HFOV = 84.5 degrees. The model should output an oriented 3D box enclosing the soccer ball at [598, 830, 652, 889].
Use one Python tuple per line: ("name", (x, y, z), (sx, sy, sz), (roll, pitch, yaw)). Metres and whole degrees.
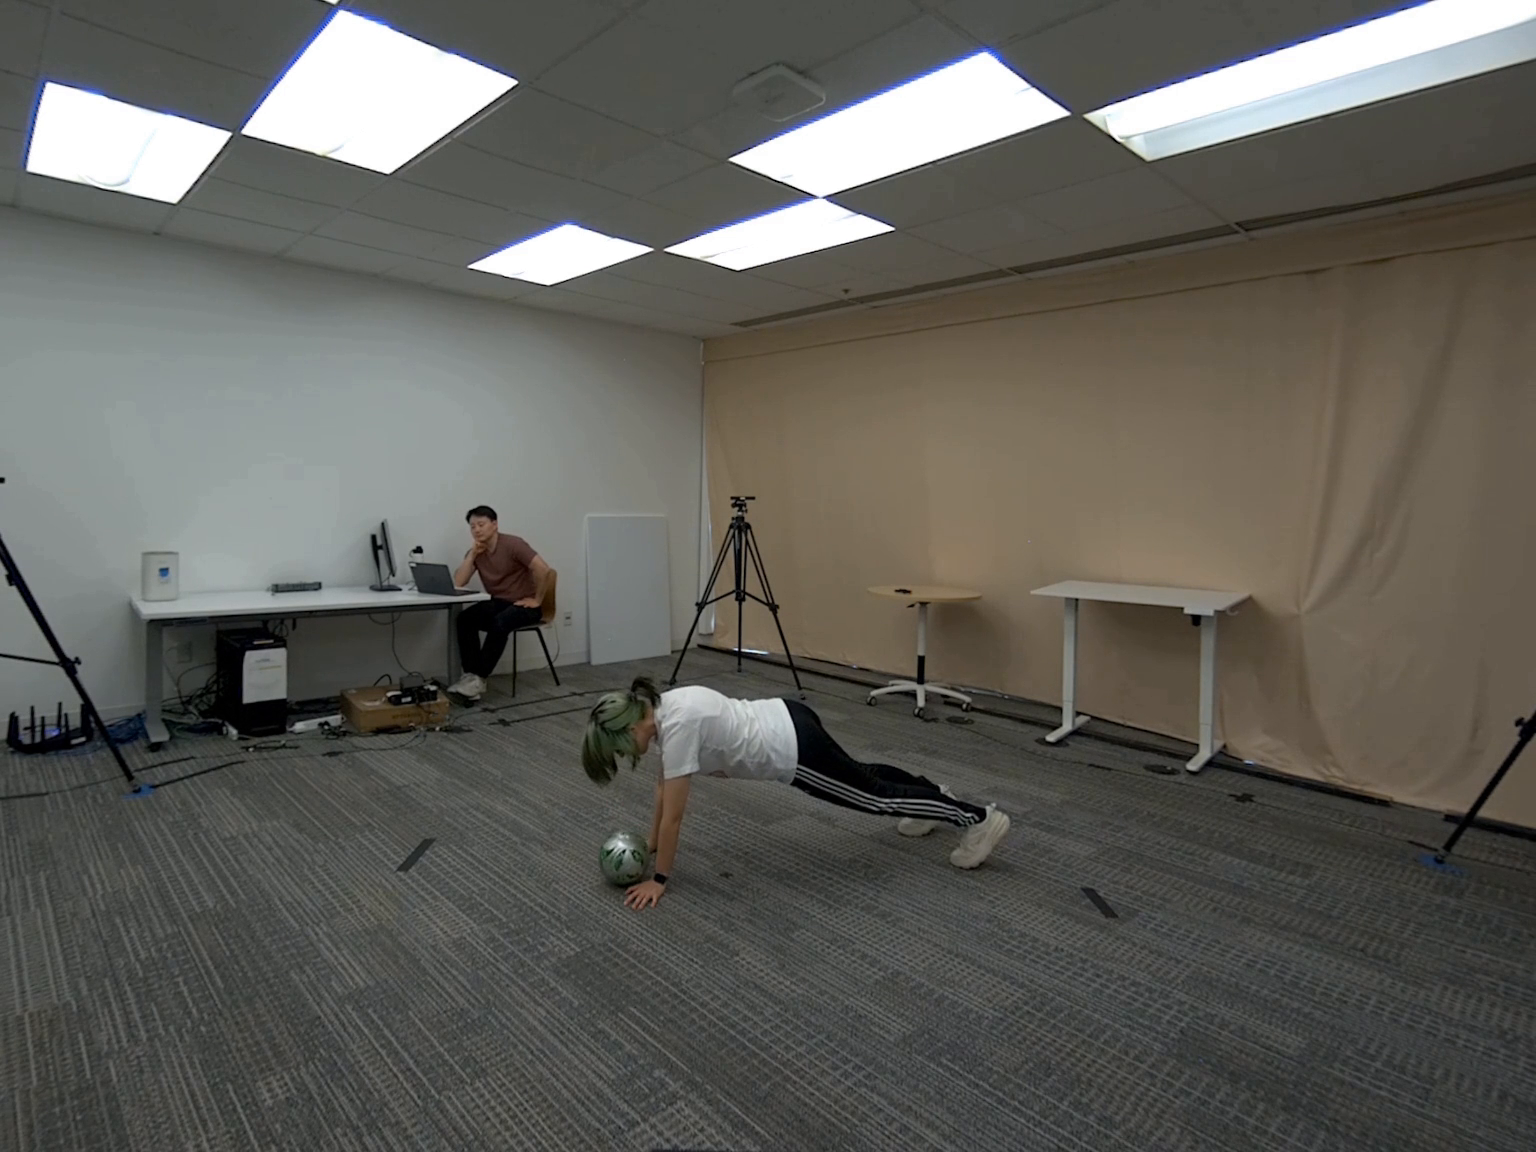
("soccer ball", (-0.523, 1.014, 3.019), (0.187, 0.187, 0.188), (1, 4, -1))
